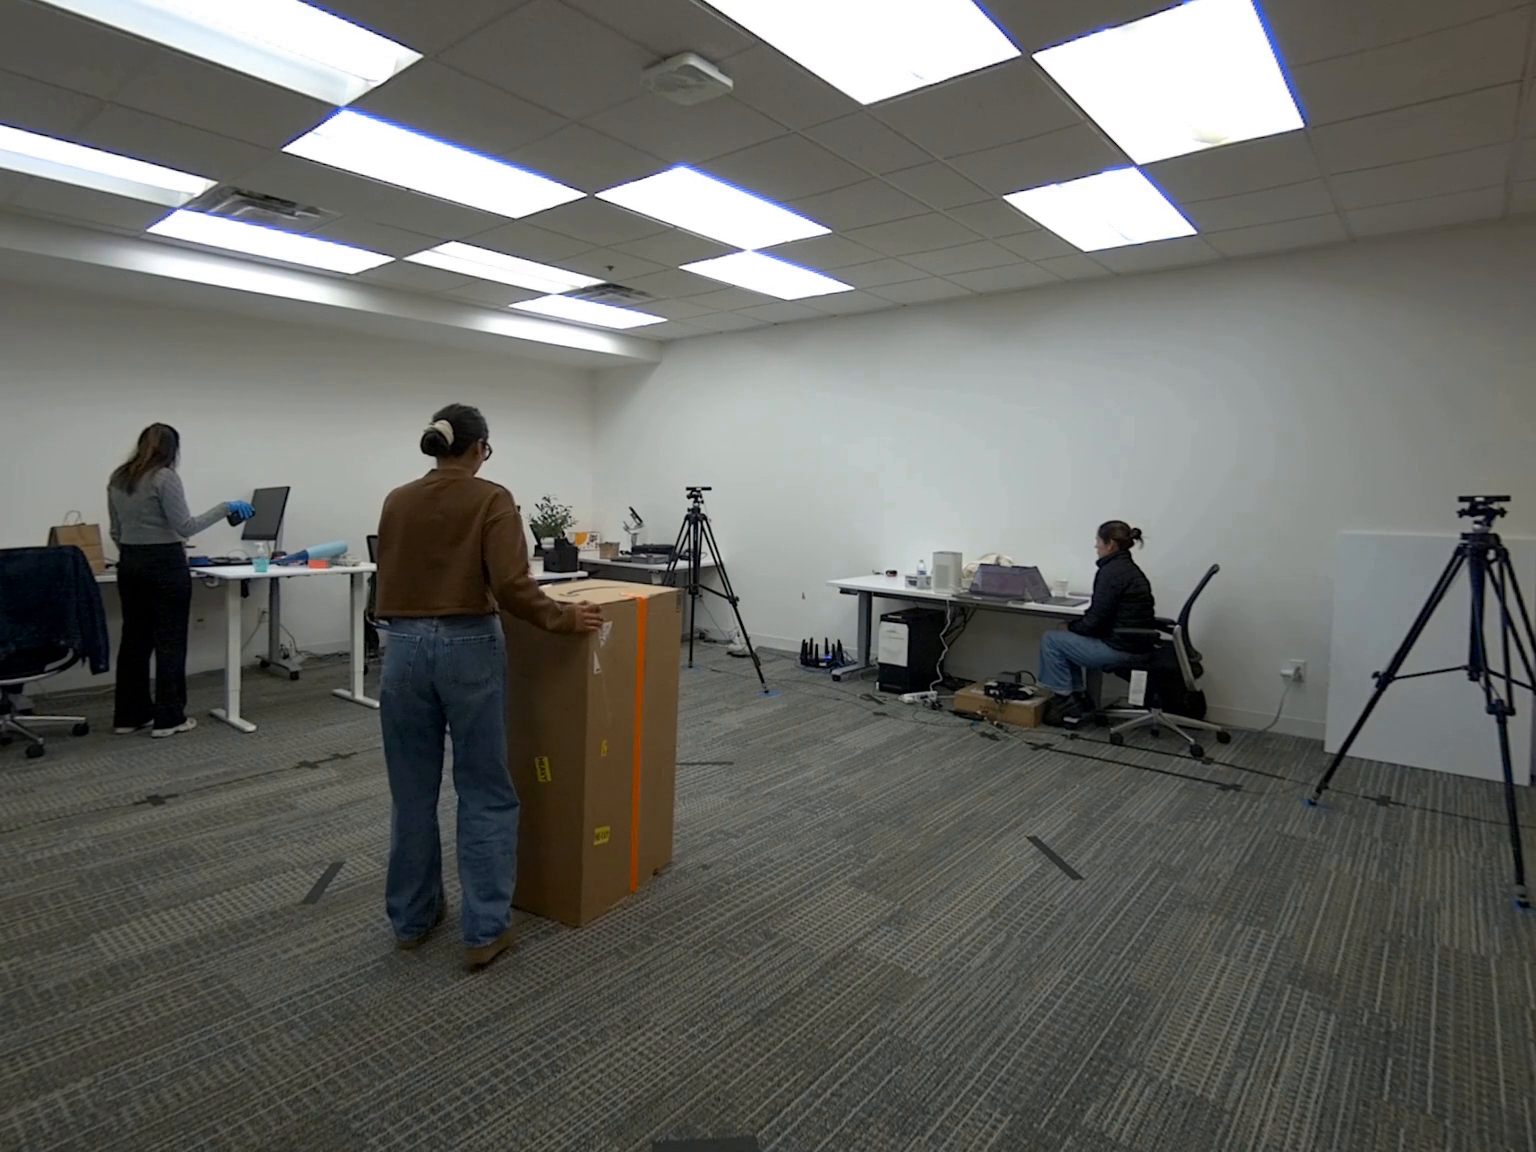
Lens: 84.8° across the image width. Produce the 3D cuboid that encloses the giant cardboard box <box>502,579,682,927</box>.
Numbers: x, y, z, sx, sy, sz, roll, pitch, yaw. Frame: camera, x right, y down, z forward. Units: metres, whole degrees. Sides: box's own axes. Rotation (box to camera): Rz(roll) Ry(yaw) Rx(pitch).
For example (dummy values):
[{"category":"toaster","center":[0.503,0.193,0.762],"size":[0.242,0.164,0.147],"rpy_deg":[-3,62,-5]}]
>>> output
[{"category":"giant cardboard box","center":[-0.645,0.560,2.992],"size":[0.438,1.023,0.564],"rpy_deg":[4,4,26]}]
